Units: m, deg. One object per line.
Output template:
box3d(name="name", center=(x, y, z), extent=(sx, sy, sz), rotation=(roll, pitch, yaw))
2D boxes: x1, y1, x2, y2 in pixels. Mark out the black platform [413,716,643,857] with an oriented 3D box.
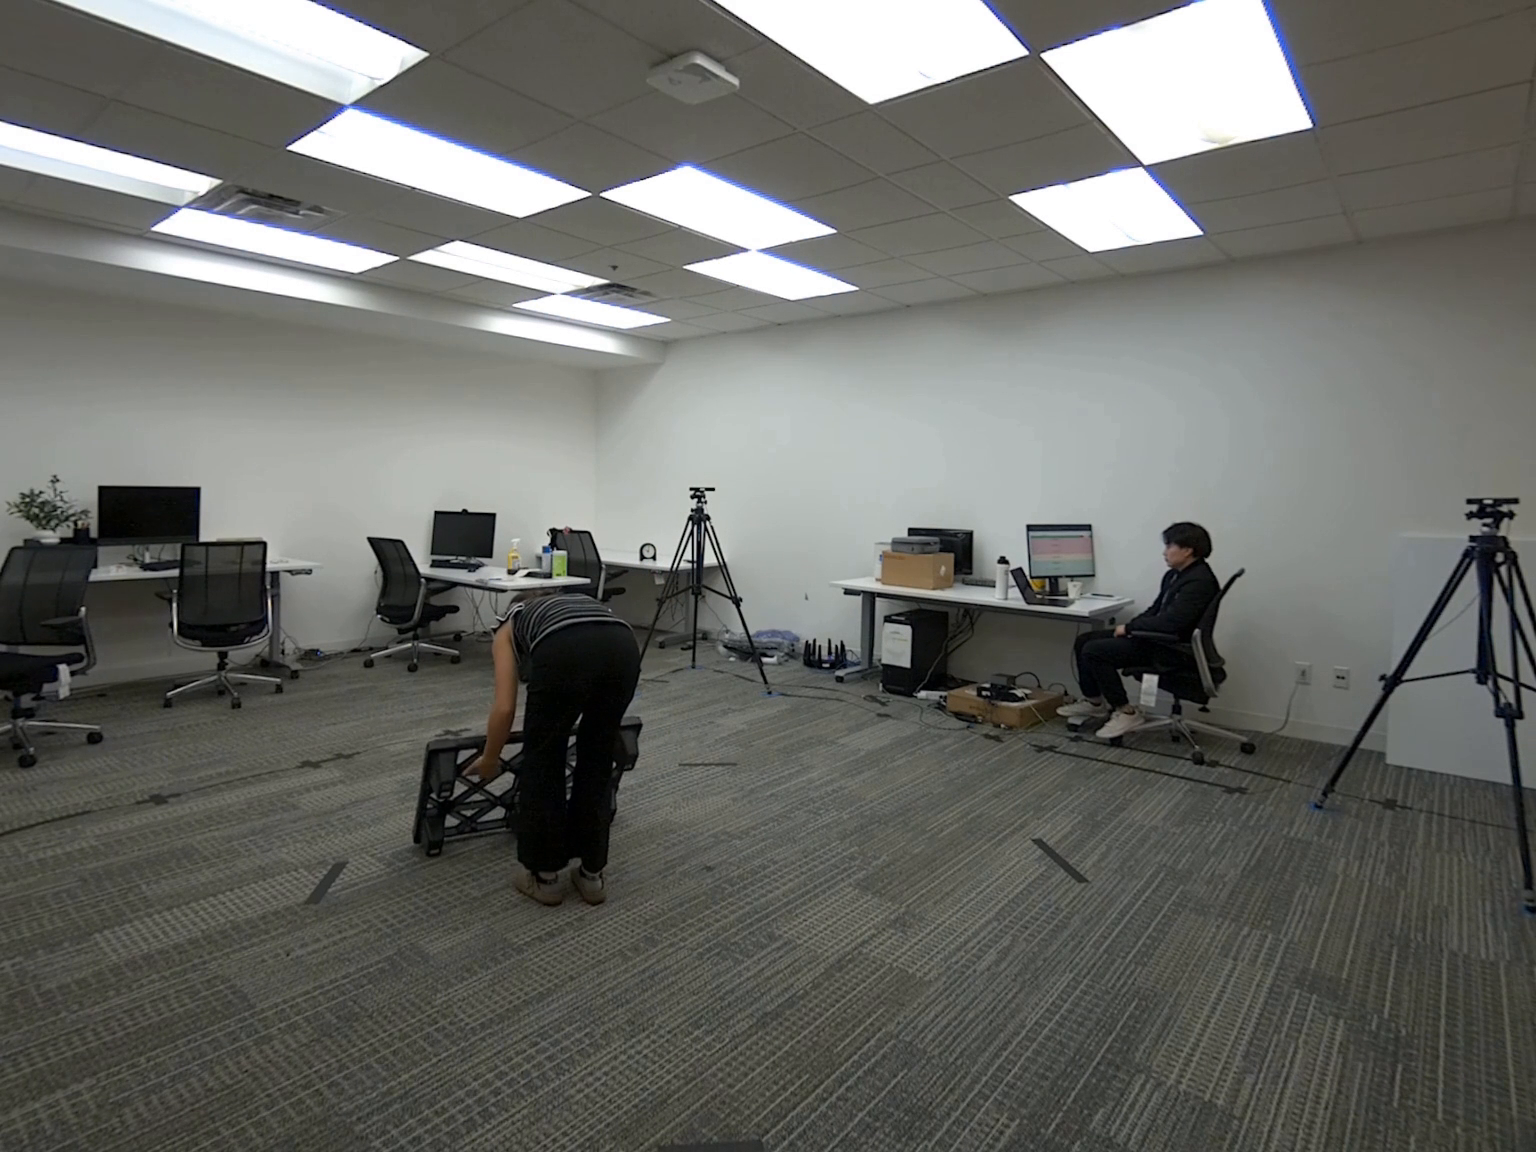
box3d(name="black platform", center=(-0.920, 0.819, 3.241), extent=(0.785, 0.596, 0.149), rotation=(-2, 45, -29))
